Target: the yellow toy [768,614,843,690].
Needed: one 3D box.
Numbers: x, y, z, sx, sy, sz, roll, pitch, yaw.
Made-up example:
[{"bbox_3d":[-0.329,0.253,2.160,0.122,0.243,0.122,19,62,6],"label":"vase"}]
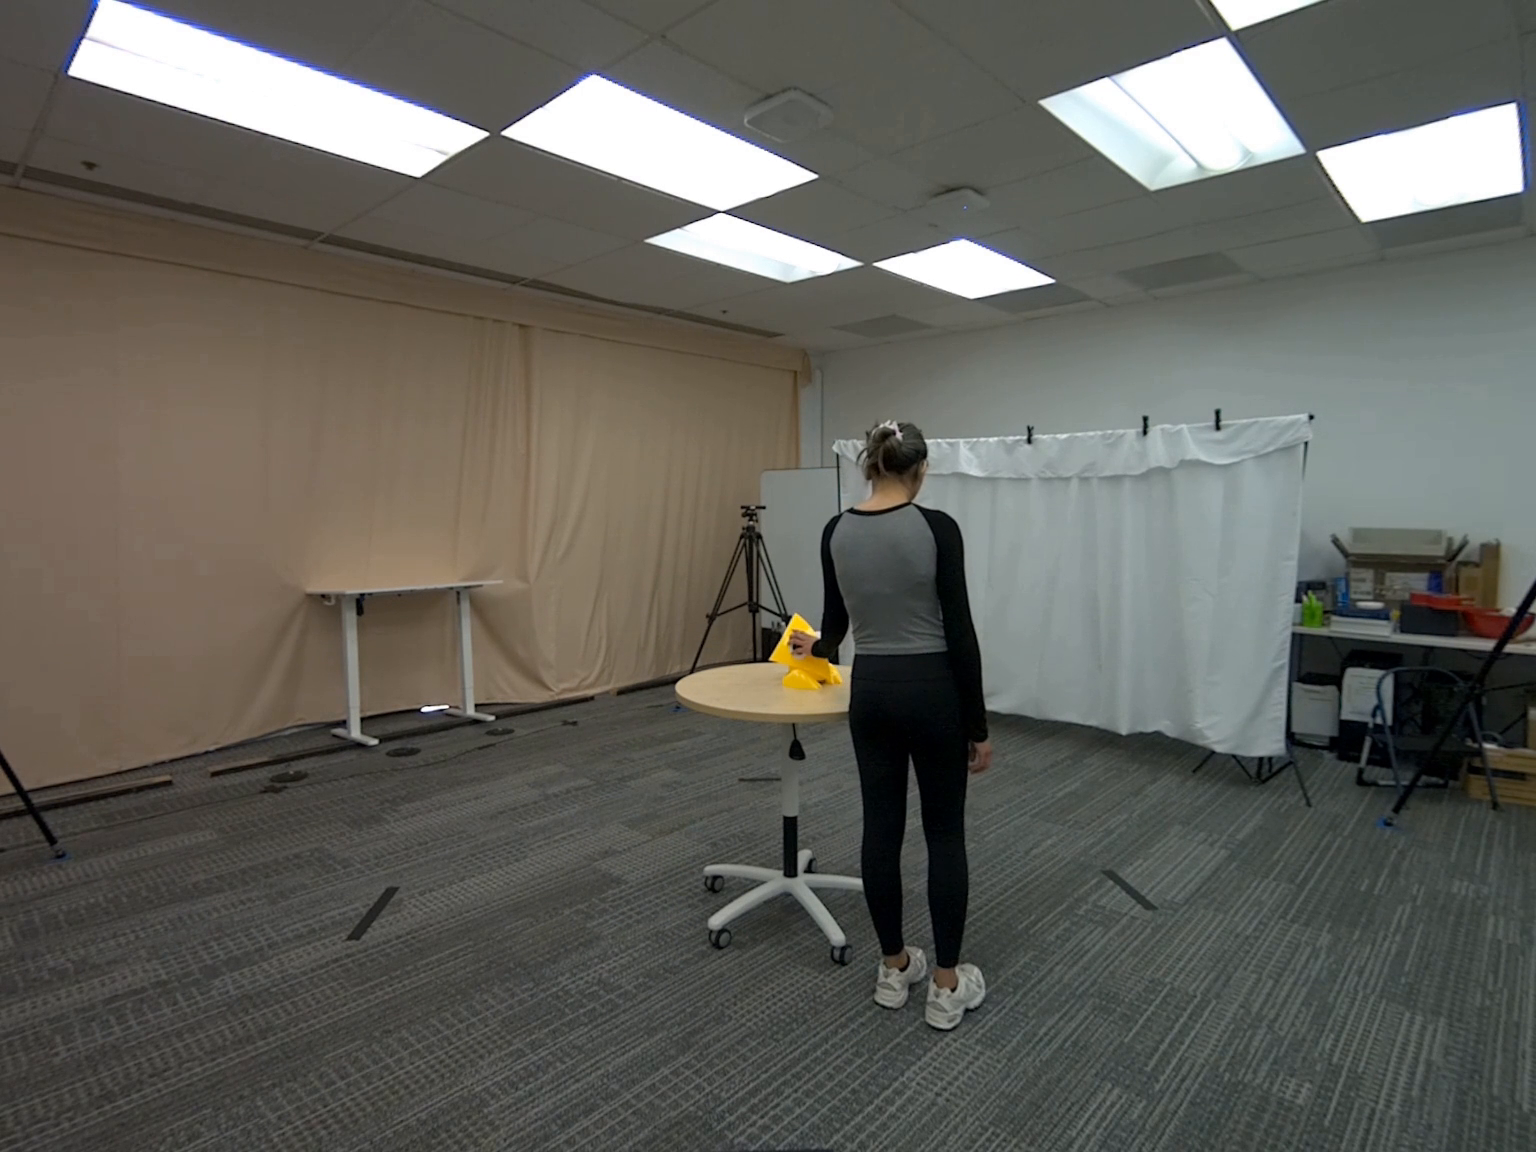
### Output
[{"bbox_3d":[0.144,0.248,2.849,0.198,0.230,0.199,-5,7,-44],"label":"yellow toy"}]
